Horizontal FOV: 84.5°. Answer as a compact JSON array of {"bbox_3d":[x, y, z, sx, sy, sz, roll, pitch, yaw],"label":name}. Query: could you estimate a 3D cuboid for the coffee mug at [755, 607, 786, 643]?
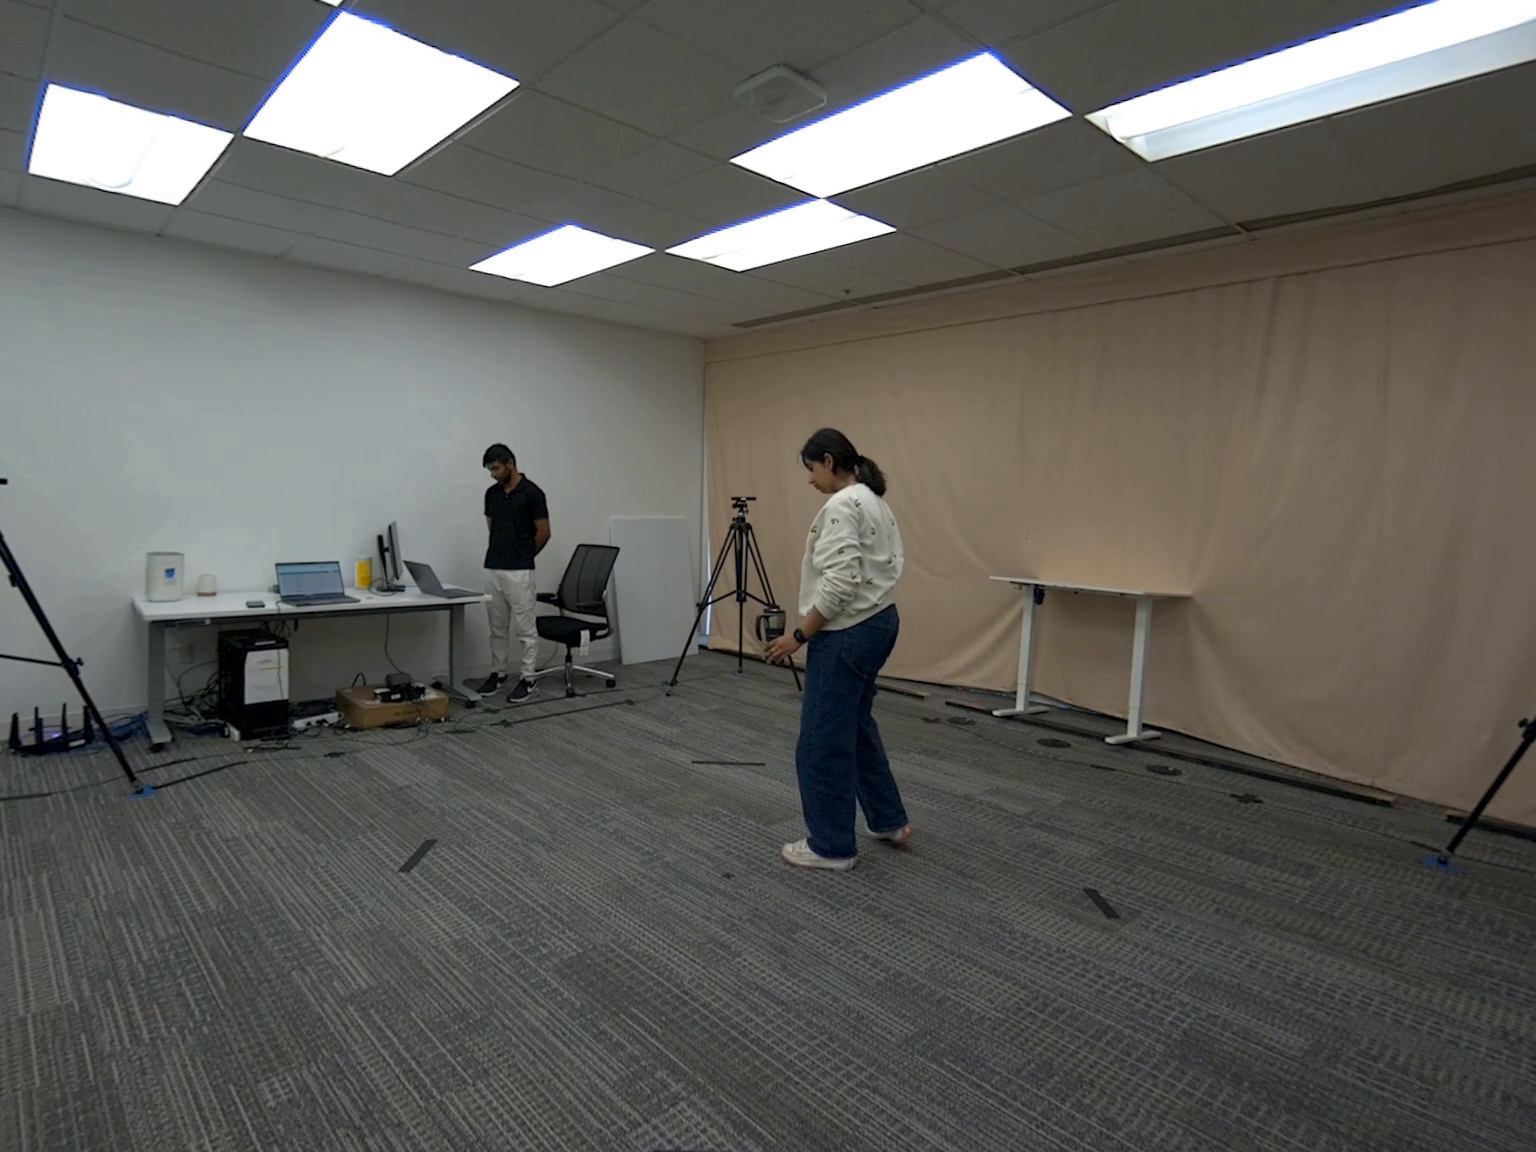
[{"bbox_3d":[0.010,0.228,3.181,0.121,0.203,0.089,4,2,-12],"label":"coffee mug"}]
